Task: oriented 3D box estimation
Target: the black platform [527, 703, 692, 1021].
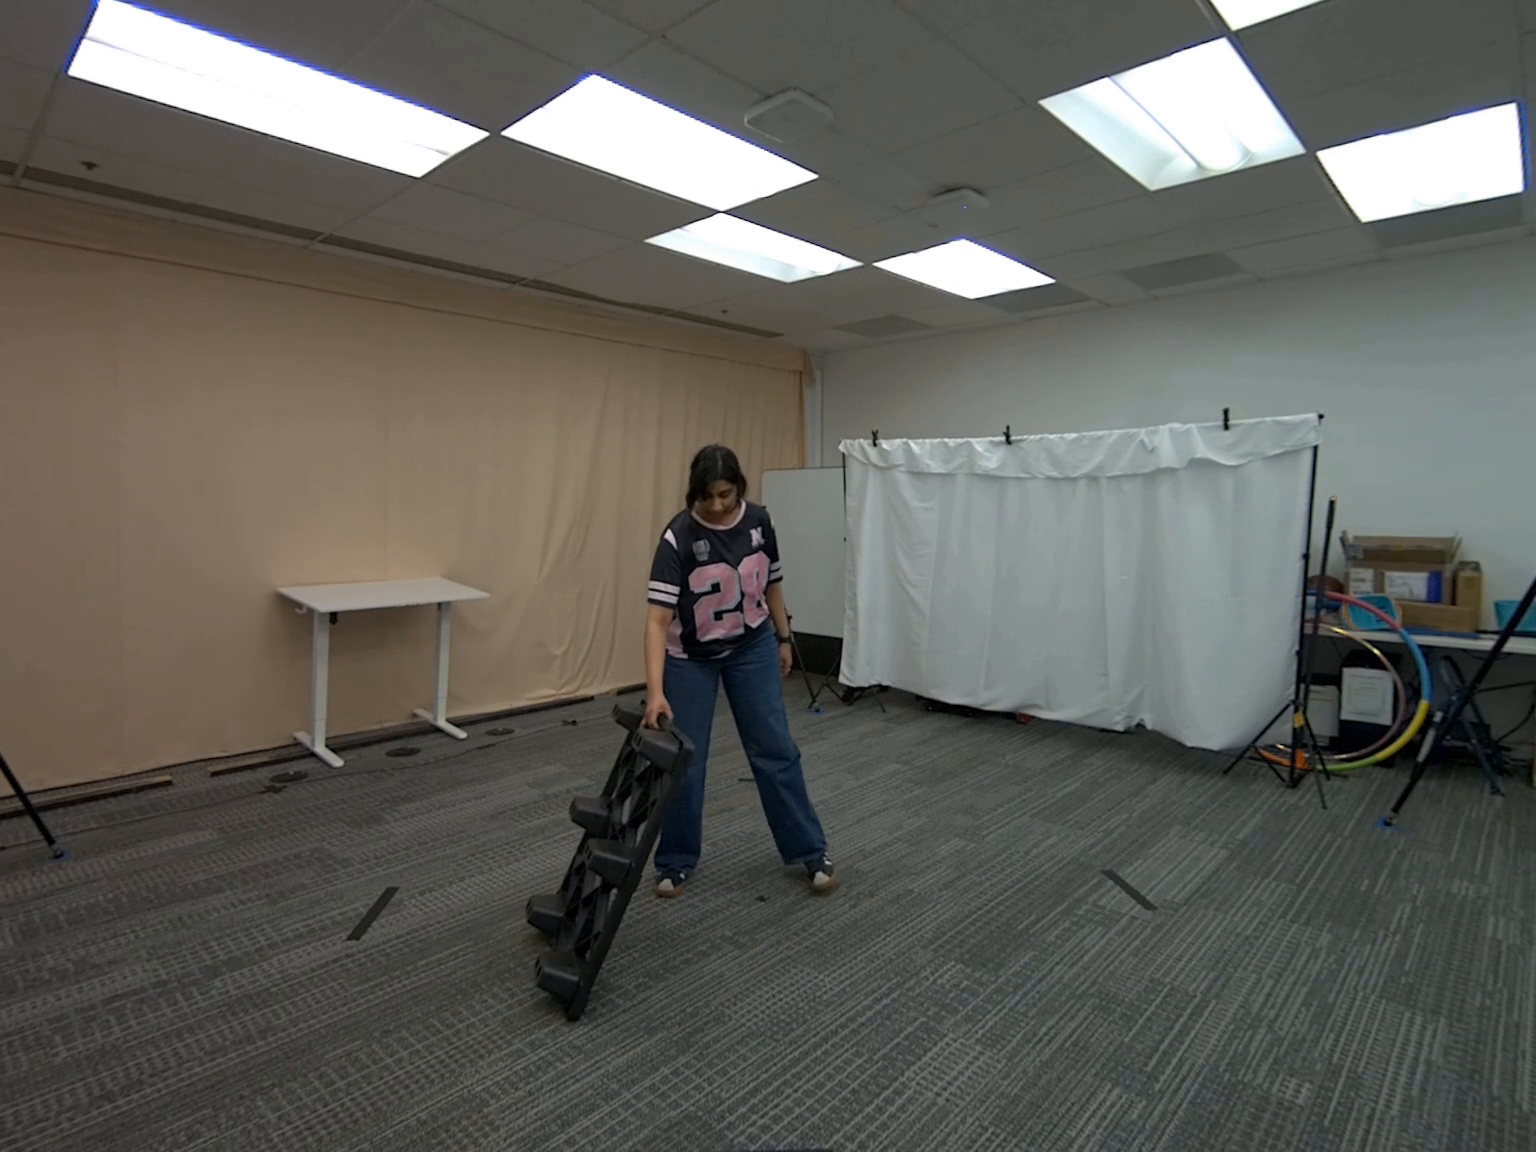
[{"bbox_3d":[-0.512,0.796,2.569,0.140,0.806,0.617,24,-4,-19],"label":"black platform"}]
